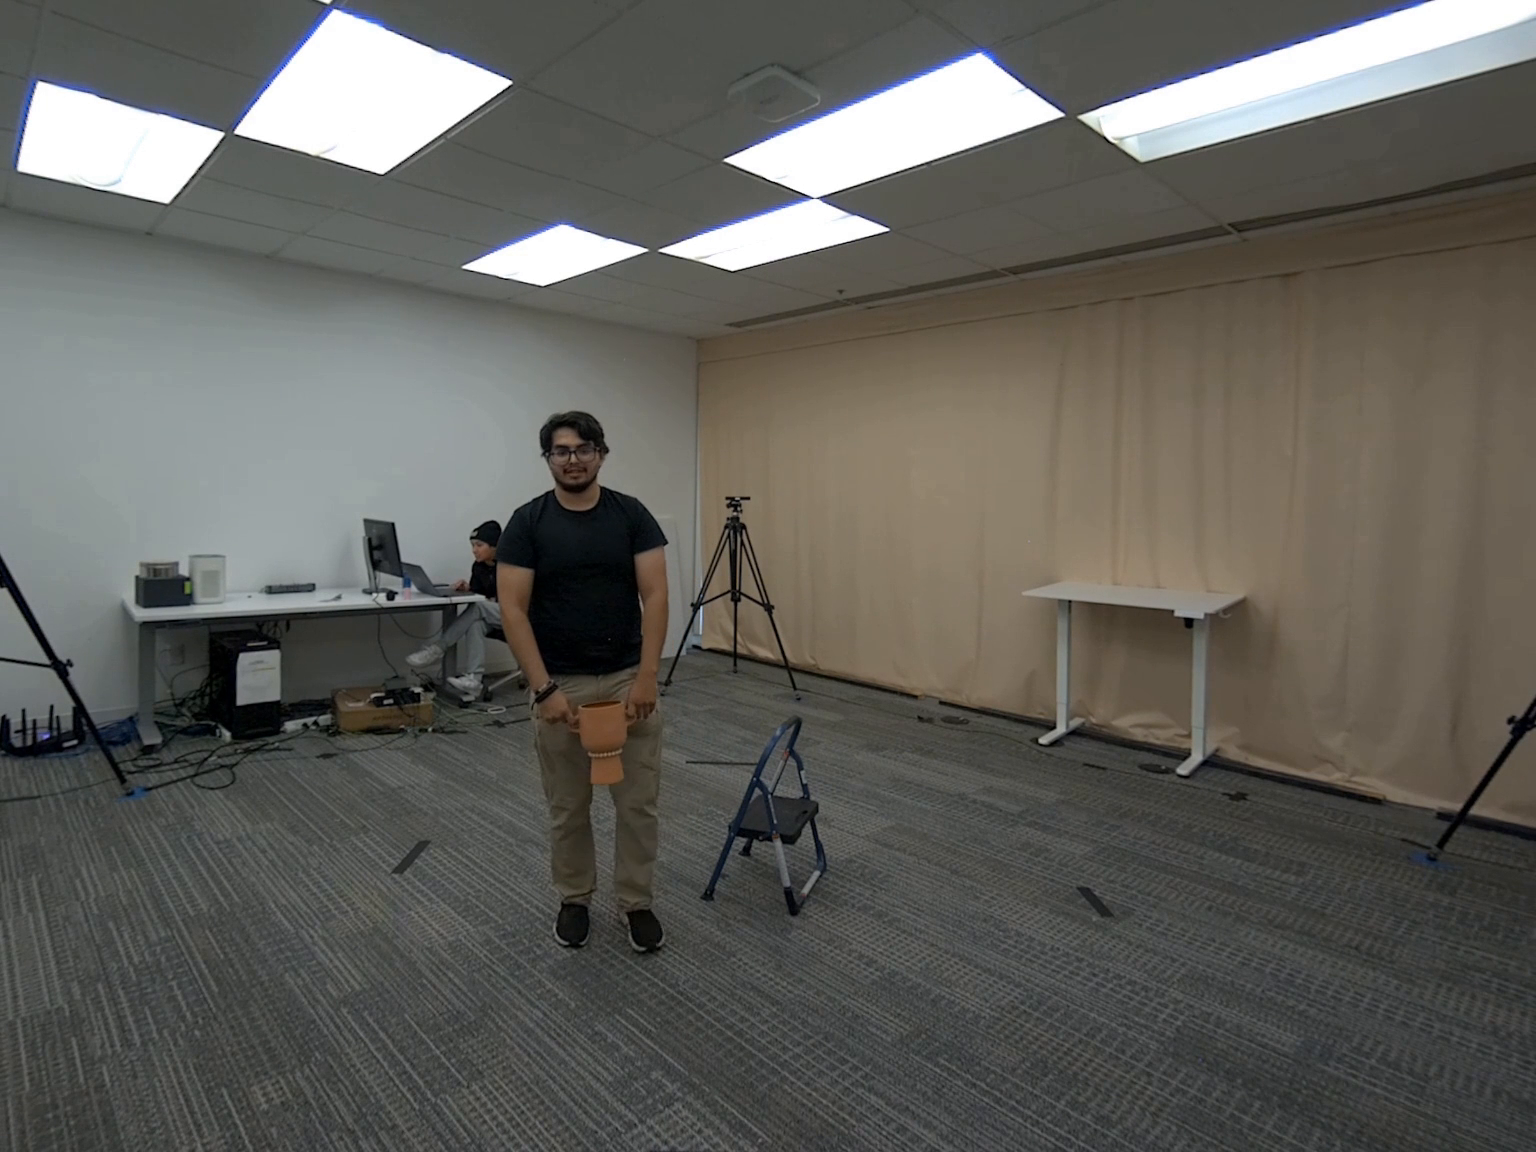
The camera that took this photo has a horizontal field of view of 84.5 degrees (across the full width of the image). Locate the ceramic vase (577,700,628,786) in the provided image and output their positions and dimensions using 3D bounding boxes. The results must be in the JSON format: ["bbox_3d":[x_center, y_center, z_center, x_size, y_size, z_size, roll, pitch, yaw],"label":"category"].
[{"bbox_3d":[-0.494,0.483,2.420,0.162,0.220,0.132,-2,0,26],"label":"ceramic vase"}]
